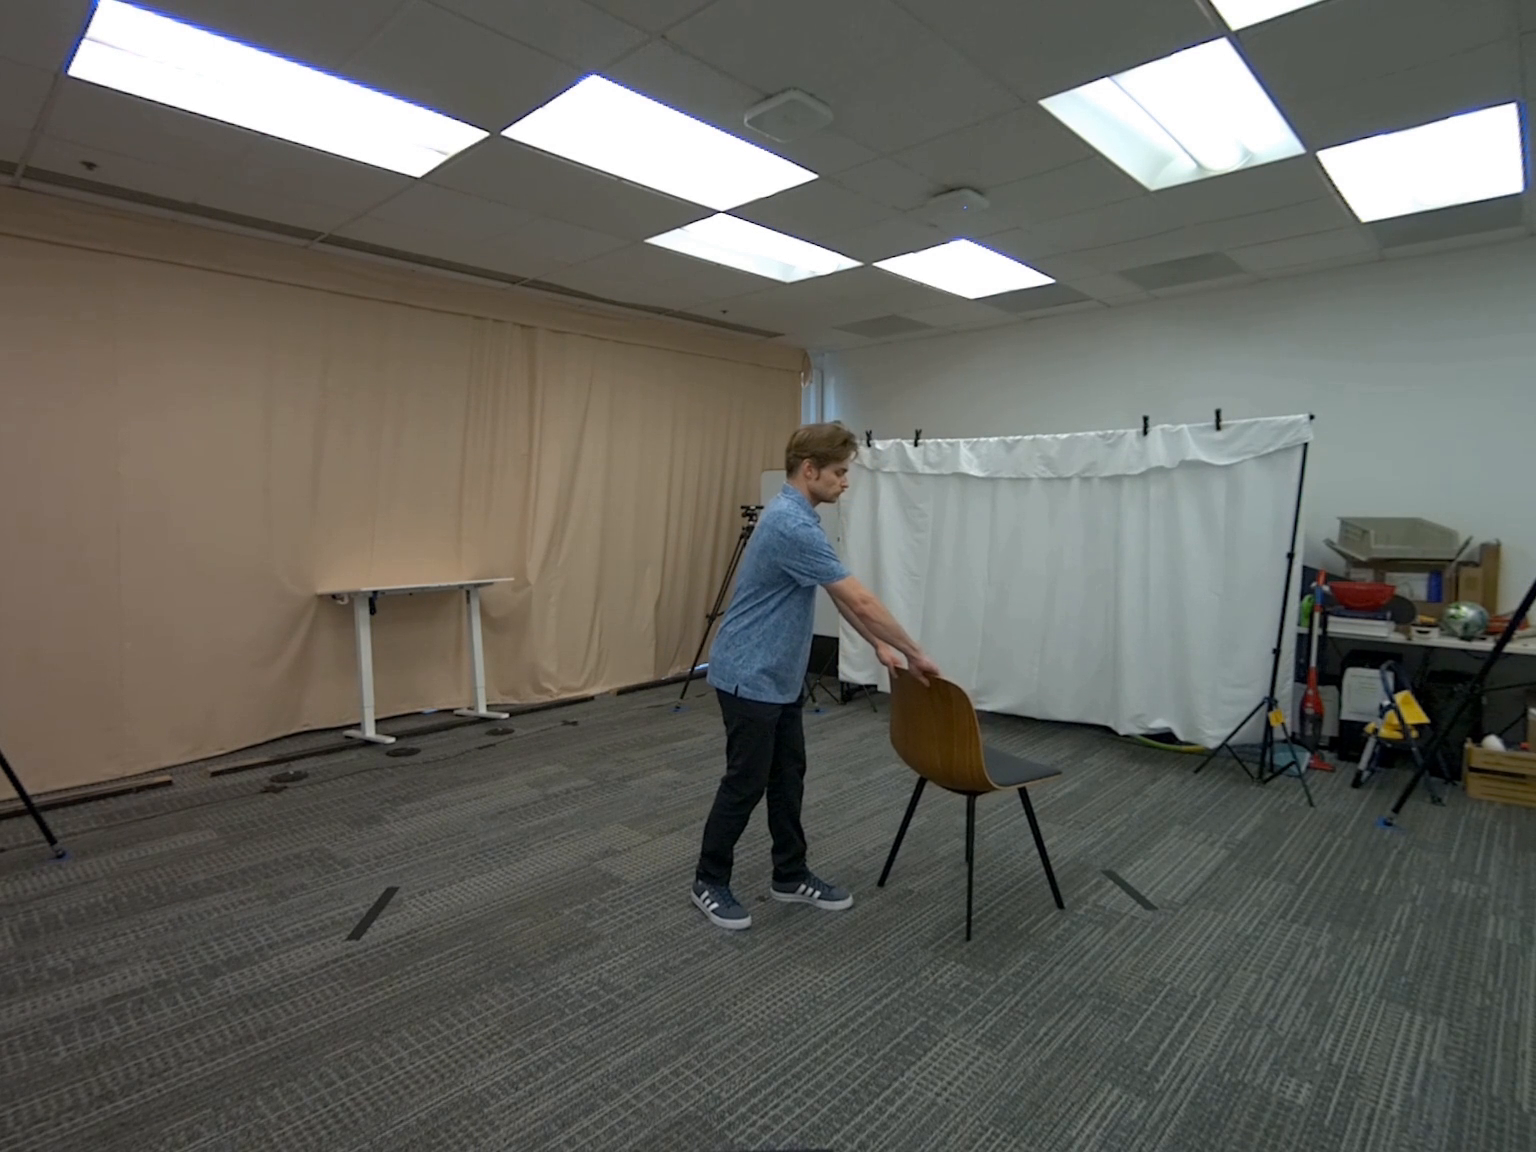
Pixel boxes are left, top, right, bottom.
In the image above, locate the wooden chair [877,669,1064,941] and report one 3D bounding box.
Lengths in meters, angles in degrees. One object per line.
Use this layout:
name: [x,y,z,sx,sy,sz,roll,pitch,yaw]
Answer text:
wooden chair: [0.723,0.717,2.956,0.510,0.874,0.492,-7,7,-31]
